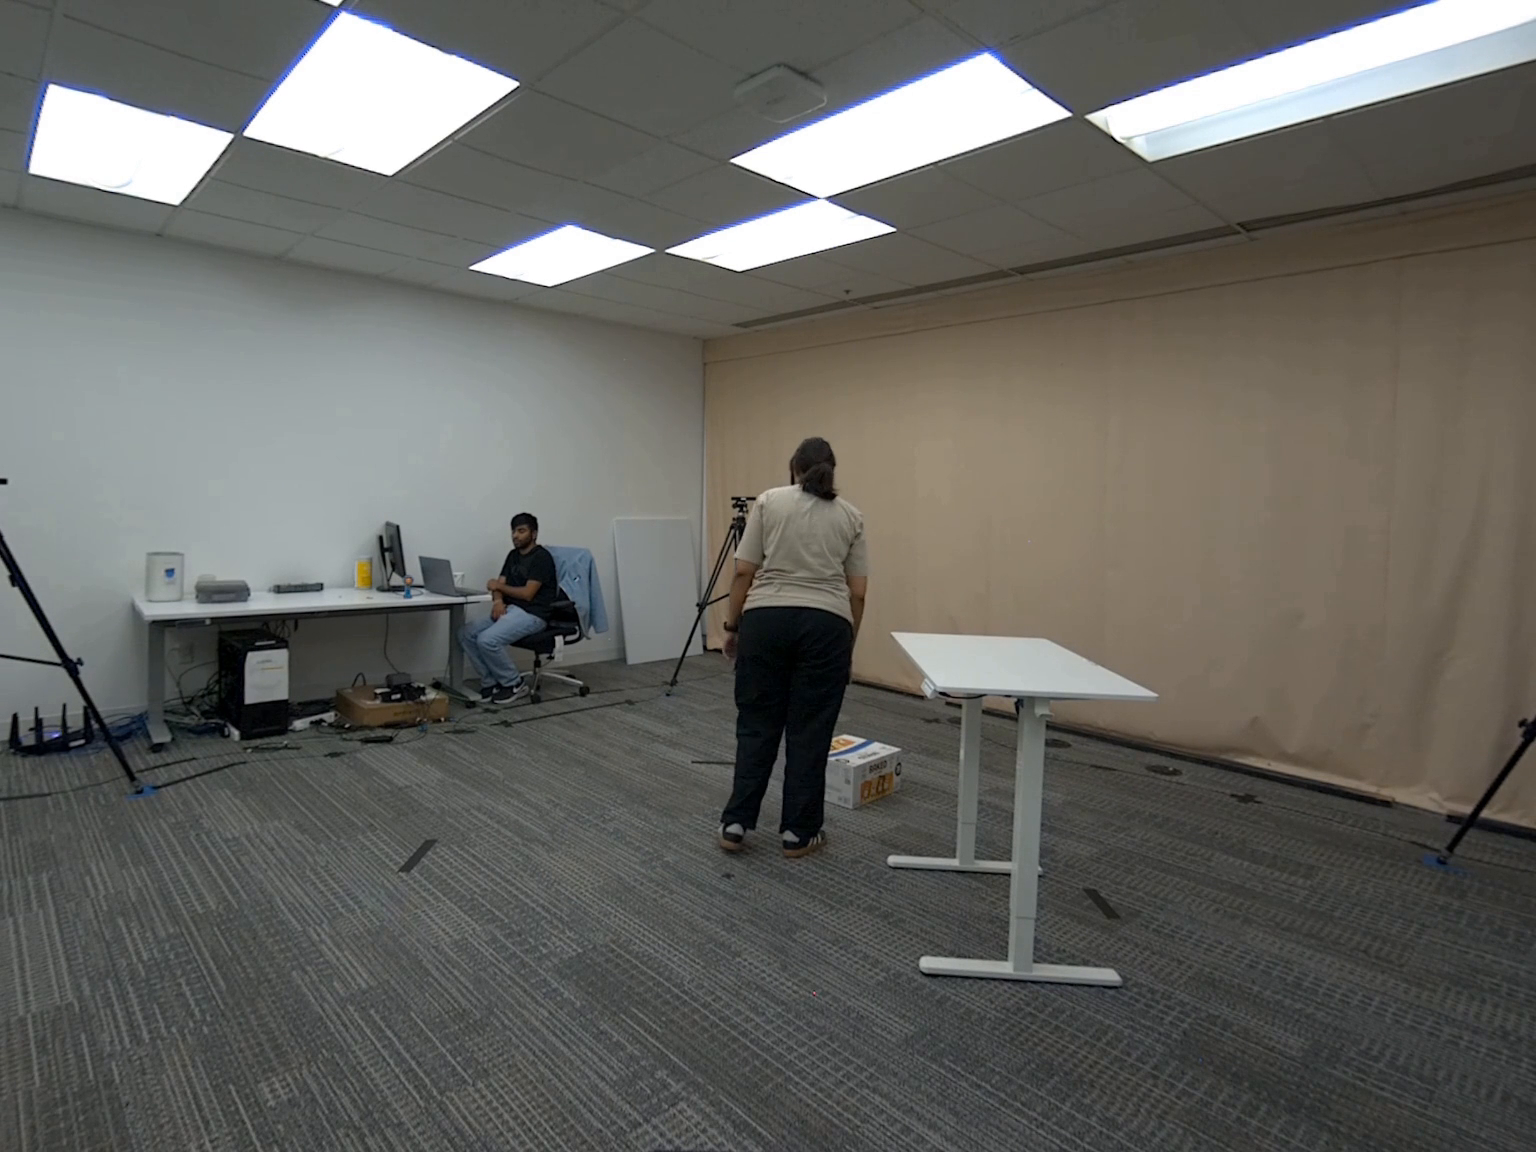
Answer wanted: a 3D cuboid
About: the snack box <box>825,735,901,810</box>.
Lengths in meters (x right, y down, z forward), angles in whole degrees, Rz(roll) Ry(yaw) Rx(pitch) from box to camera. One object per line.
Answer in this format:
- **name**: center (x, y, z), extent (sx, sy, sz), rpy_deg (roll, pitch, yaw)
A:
- **snack box**: center (0.377, 0.938, 4.064), extent (0.349, 0.205, 0.396), rpy_deg (5, 6, 42)
